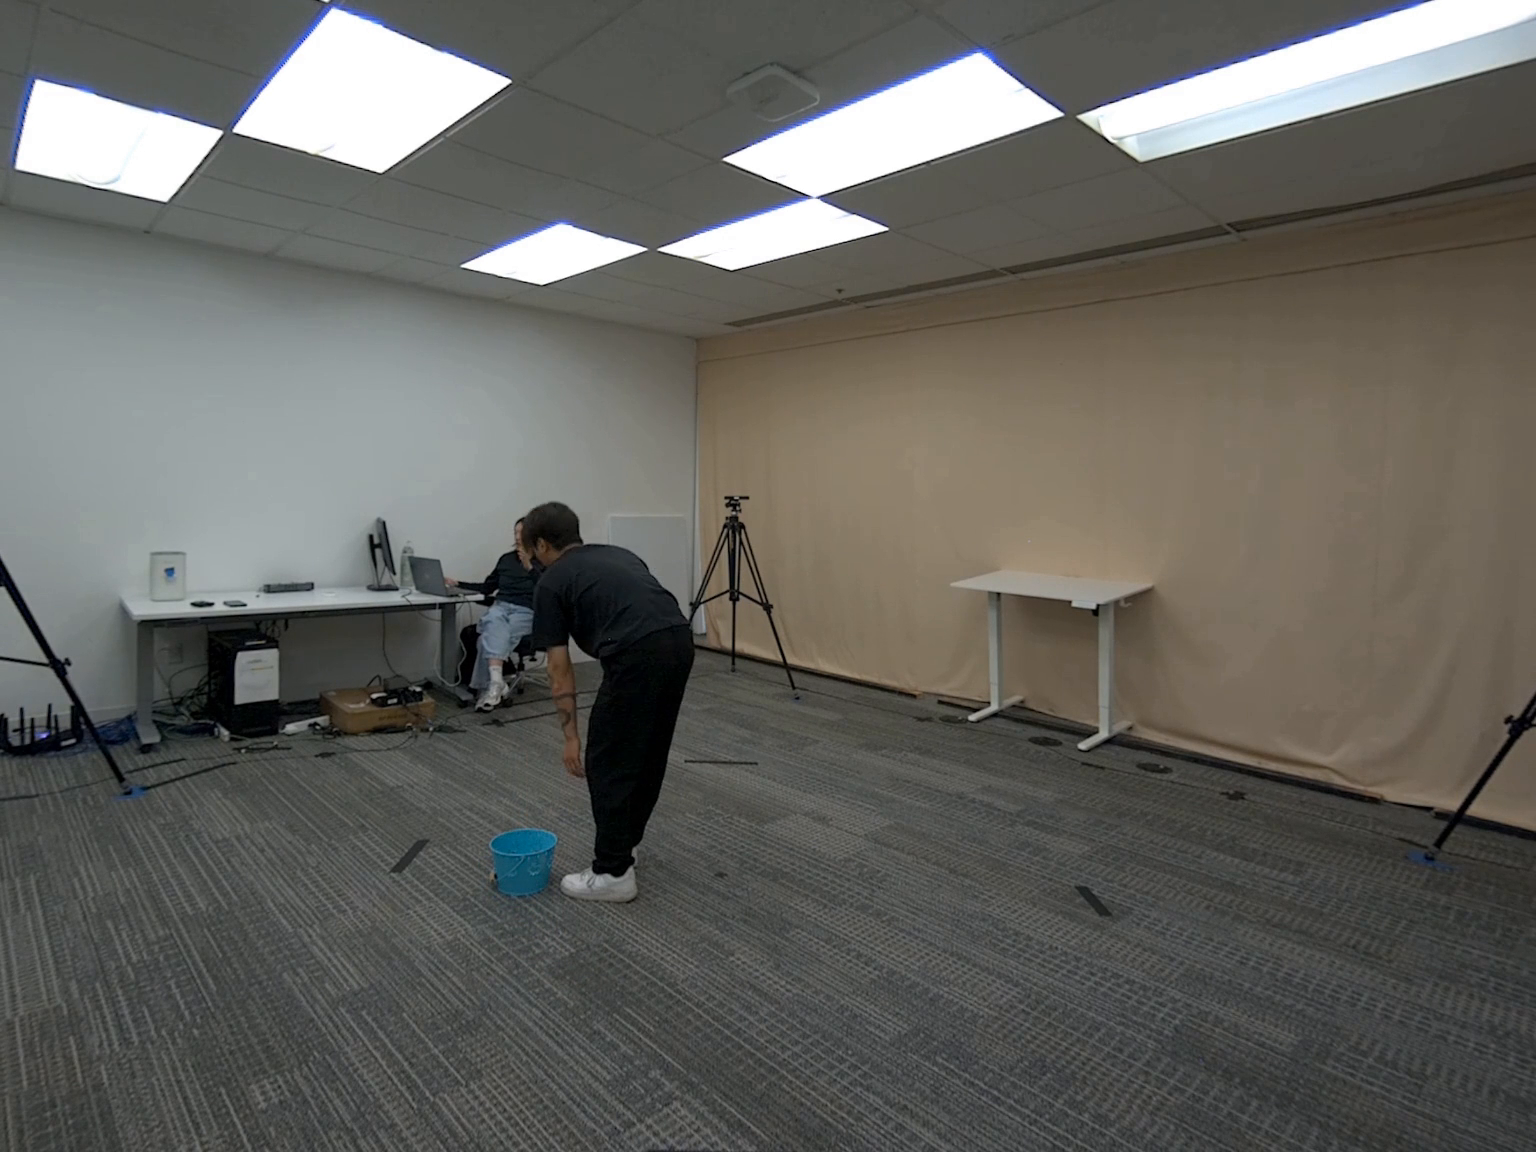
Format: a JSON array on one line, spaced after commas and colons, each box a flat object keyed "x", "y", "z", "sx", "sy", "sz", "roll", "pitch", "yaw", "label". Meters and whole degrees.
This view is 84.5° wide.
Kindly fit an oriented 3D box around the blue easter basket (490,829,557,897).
[{"x": -0.868, "y": 1.016, "z": 2.993, "sx": 0.243, "sy": 0.155, "sz": 0.244, "roll": 1, "pitch": 5, "yaw": -1, "label": "blue easter basket"}]
